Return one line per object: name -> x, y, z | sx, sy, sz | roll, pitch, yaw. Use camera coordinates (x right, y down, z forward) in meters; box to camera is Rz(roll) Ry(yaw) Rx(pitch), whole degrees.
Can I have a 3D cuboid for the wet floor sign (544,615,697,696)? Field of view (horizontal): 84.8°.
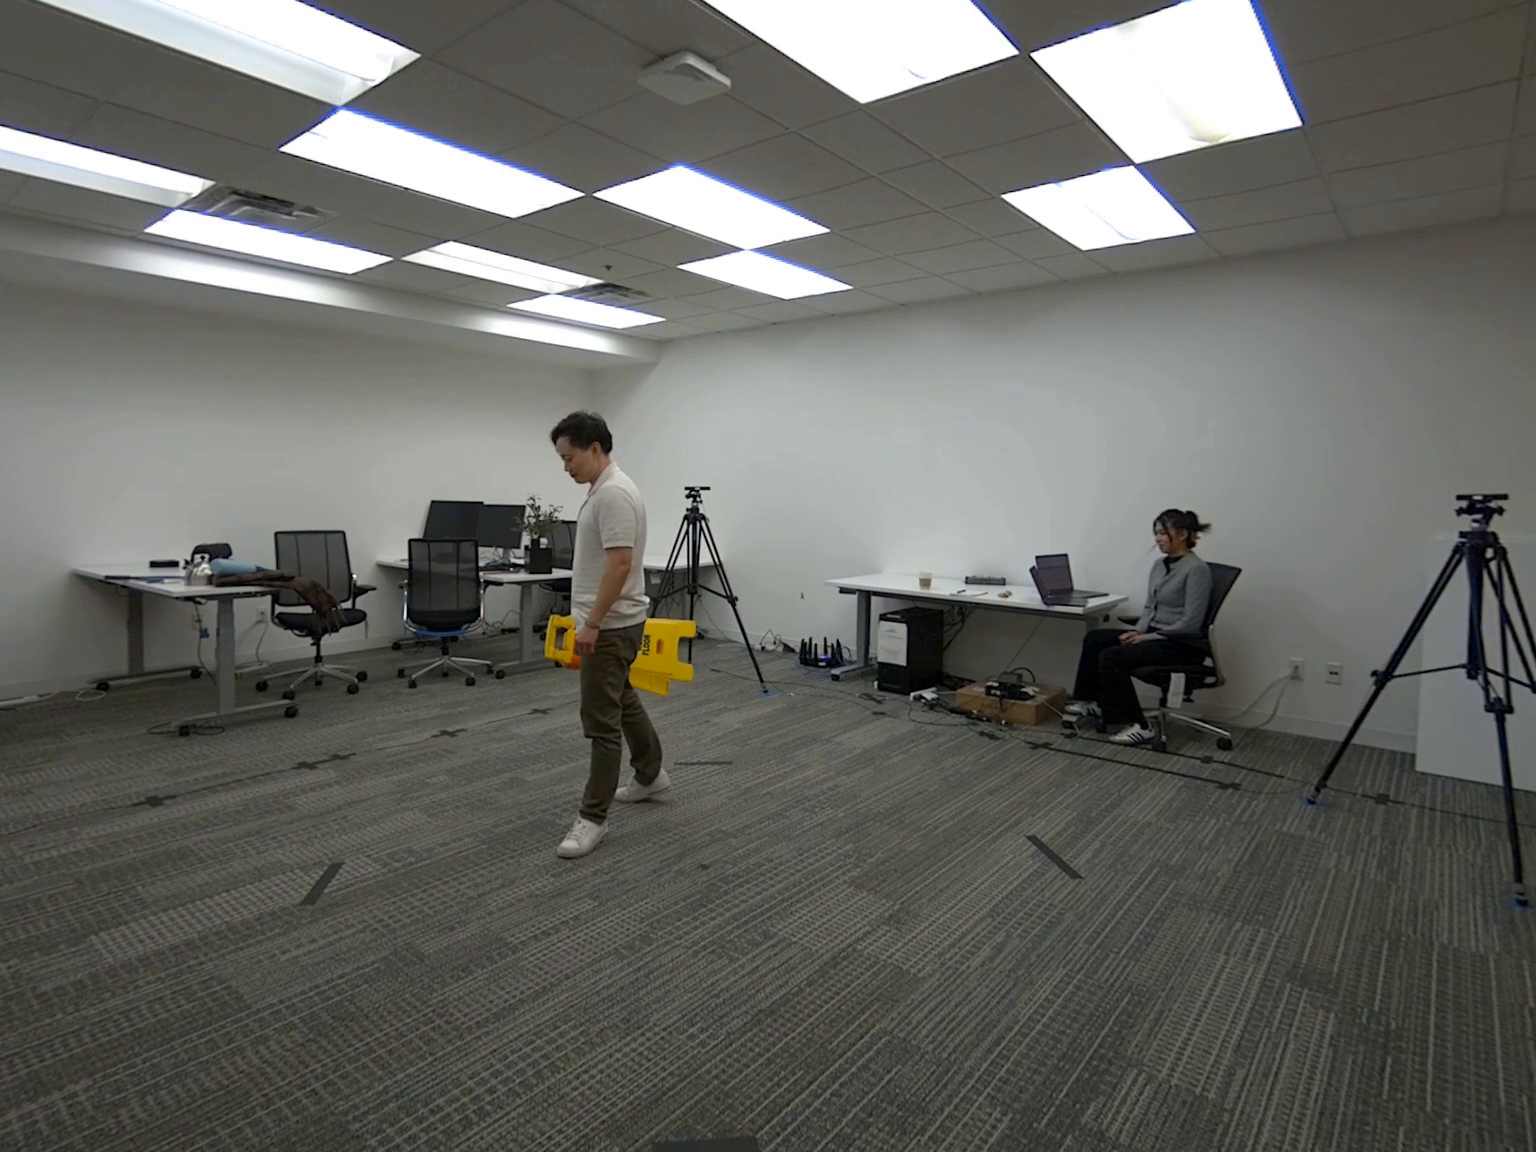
wet floor sign -> -0.703, 0.327, 3.854 | 0.629, 0.288, 0.291 | 13, -26, -23
